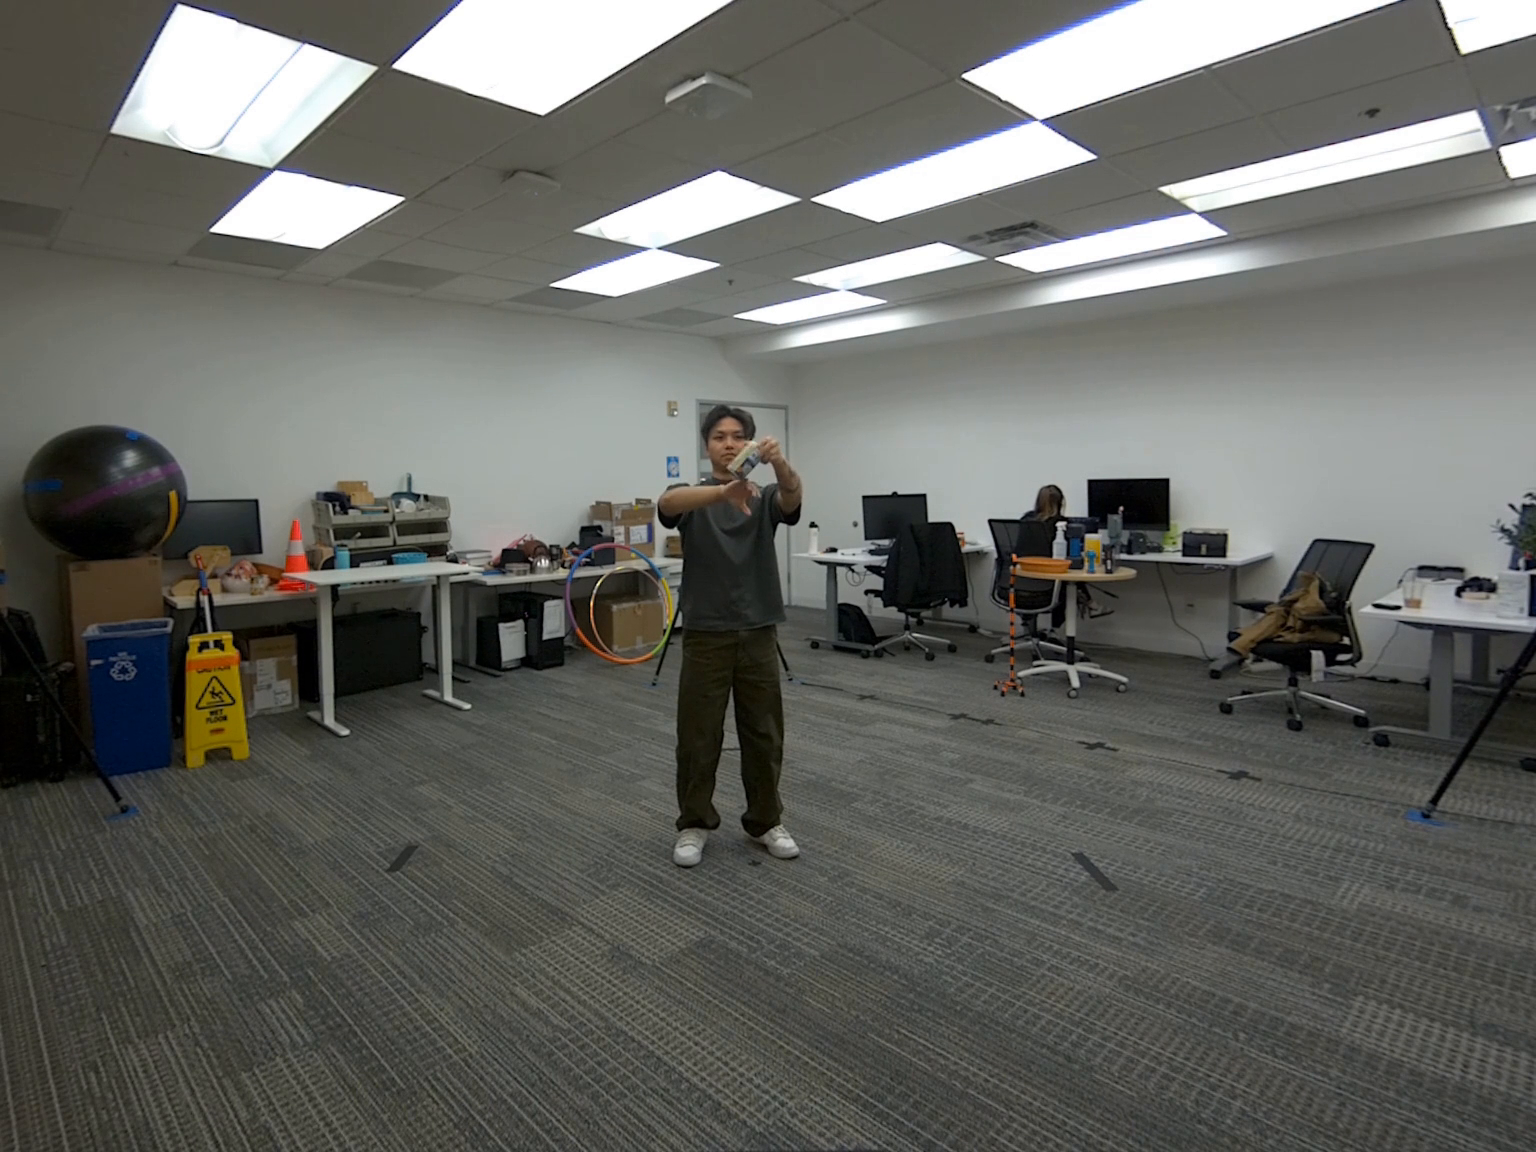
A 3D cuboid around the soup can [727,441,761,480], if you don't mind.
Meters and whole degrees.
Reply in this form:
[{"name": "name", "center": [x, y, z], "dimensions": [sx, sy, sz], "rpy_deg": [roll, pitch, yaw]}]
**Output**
[{"name": "soup can", "center": [-0.071, -0.355, 2.673], "dimensions": [0.067, 0.121, 0.067], "rpy_deg": [34, -3, 0]}]
